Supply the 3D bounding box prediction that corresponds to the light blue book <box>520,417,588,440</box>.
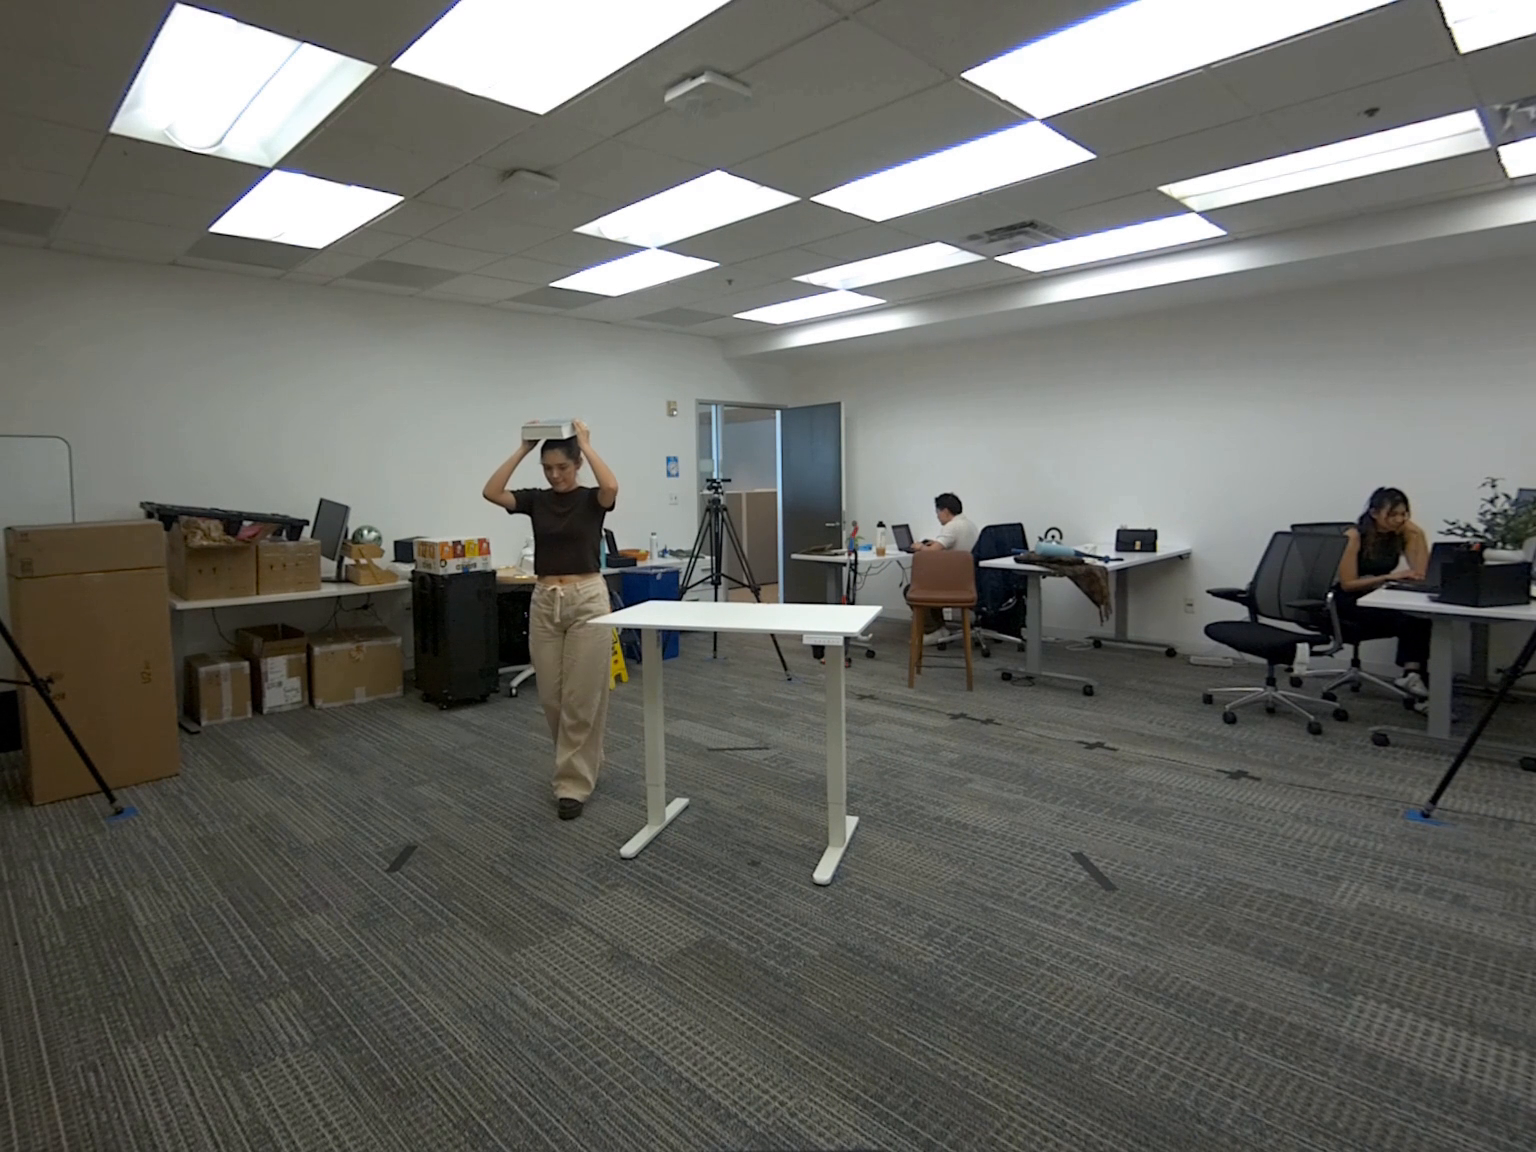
[{"bbox_3d":[-0.908,-0.632,3.649,0.193,0.058,0.262,1,17,10],"label":"light blue book"}]
